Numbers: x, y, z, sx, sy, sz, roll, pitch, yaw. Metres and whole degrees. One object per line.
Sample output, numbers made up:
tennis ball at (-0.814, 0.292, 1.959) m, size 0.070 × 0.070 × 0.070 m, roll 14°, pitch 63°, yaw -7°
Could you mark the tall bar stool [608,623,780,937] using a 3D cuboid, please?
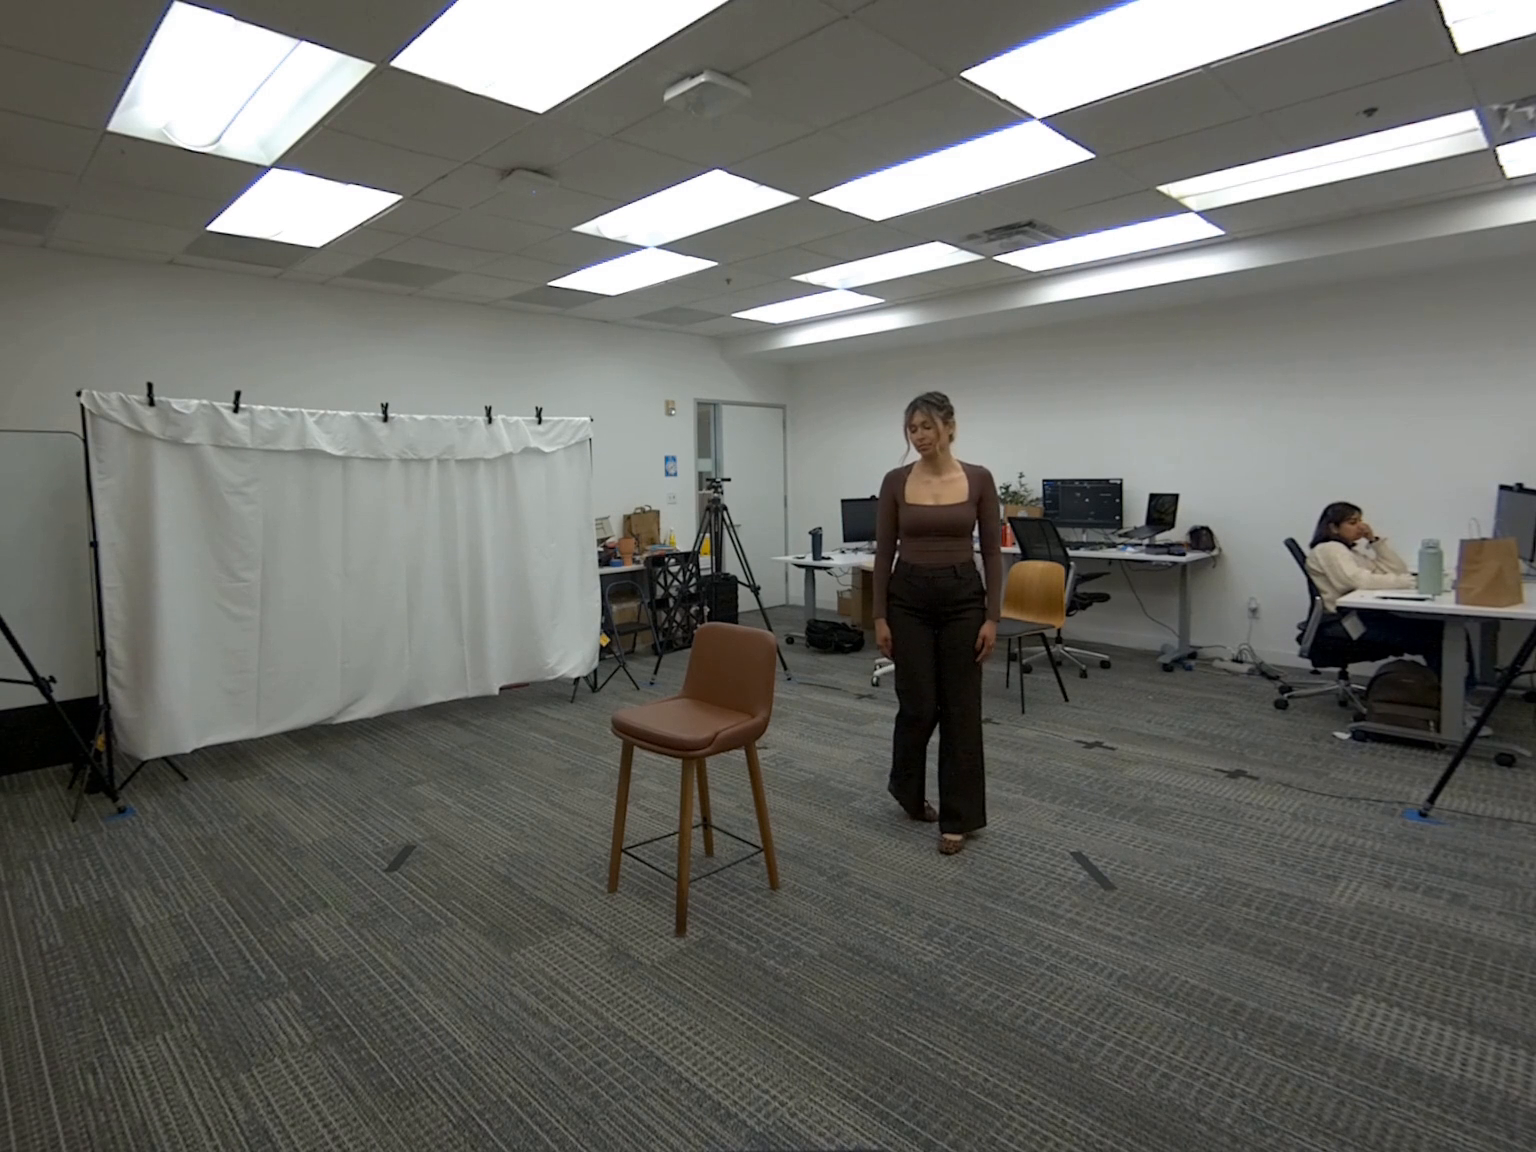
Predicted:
tall bar stool at (-0.249, 0.638, 2.879) m, size 0.455 × 0.887 × 0.470 m, roll -2°, pitch 4°, yaw -43°
